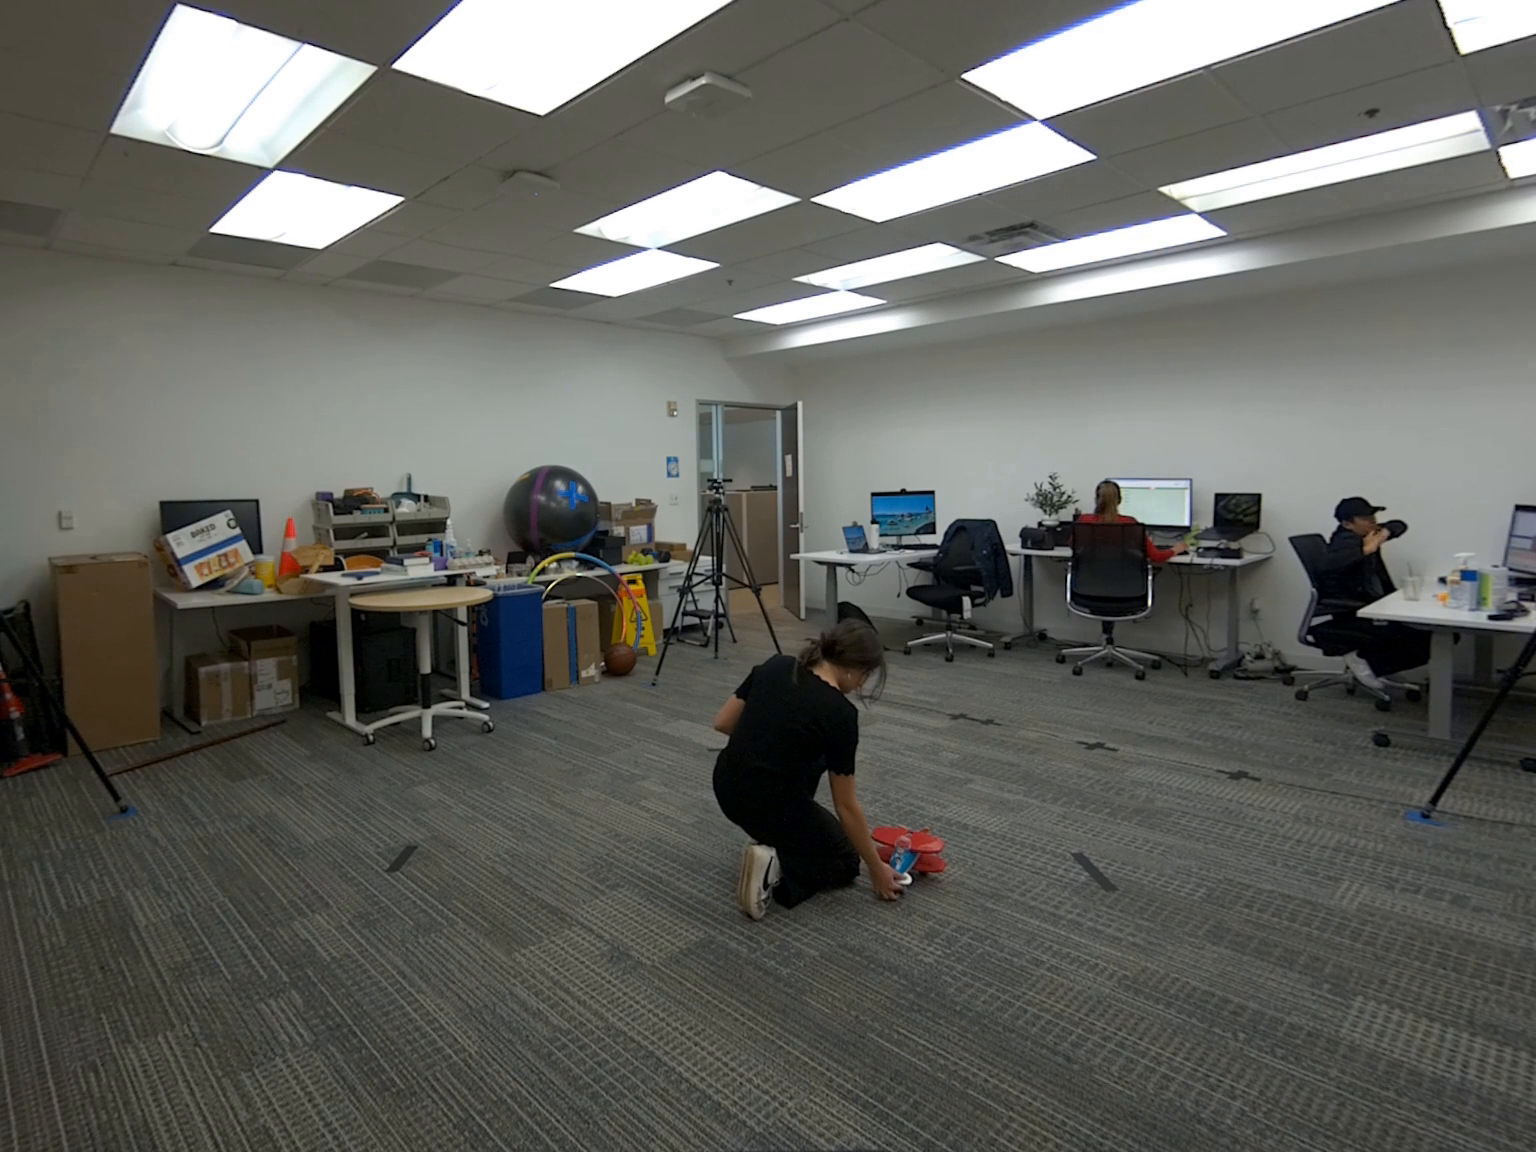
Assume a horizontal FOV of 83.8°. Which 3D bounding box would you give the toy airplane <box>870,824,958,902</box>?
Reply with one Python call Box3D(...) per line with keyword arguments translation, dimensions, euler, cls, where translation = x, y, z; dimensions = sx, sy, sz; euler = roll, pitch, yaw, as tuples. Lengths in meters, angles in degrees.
Box3D(translation=(0.490, 0.975, 2.933), dimensions=(0.252, 0.156, 0.259), euler=(-1, 4, 2), cls="toy airplane")
